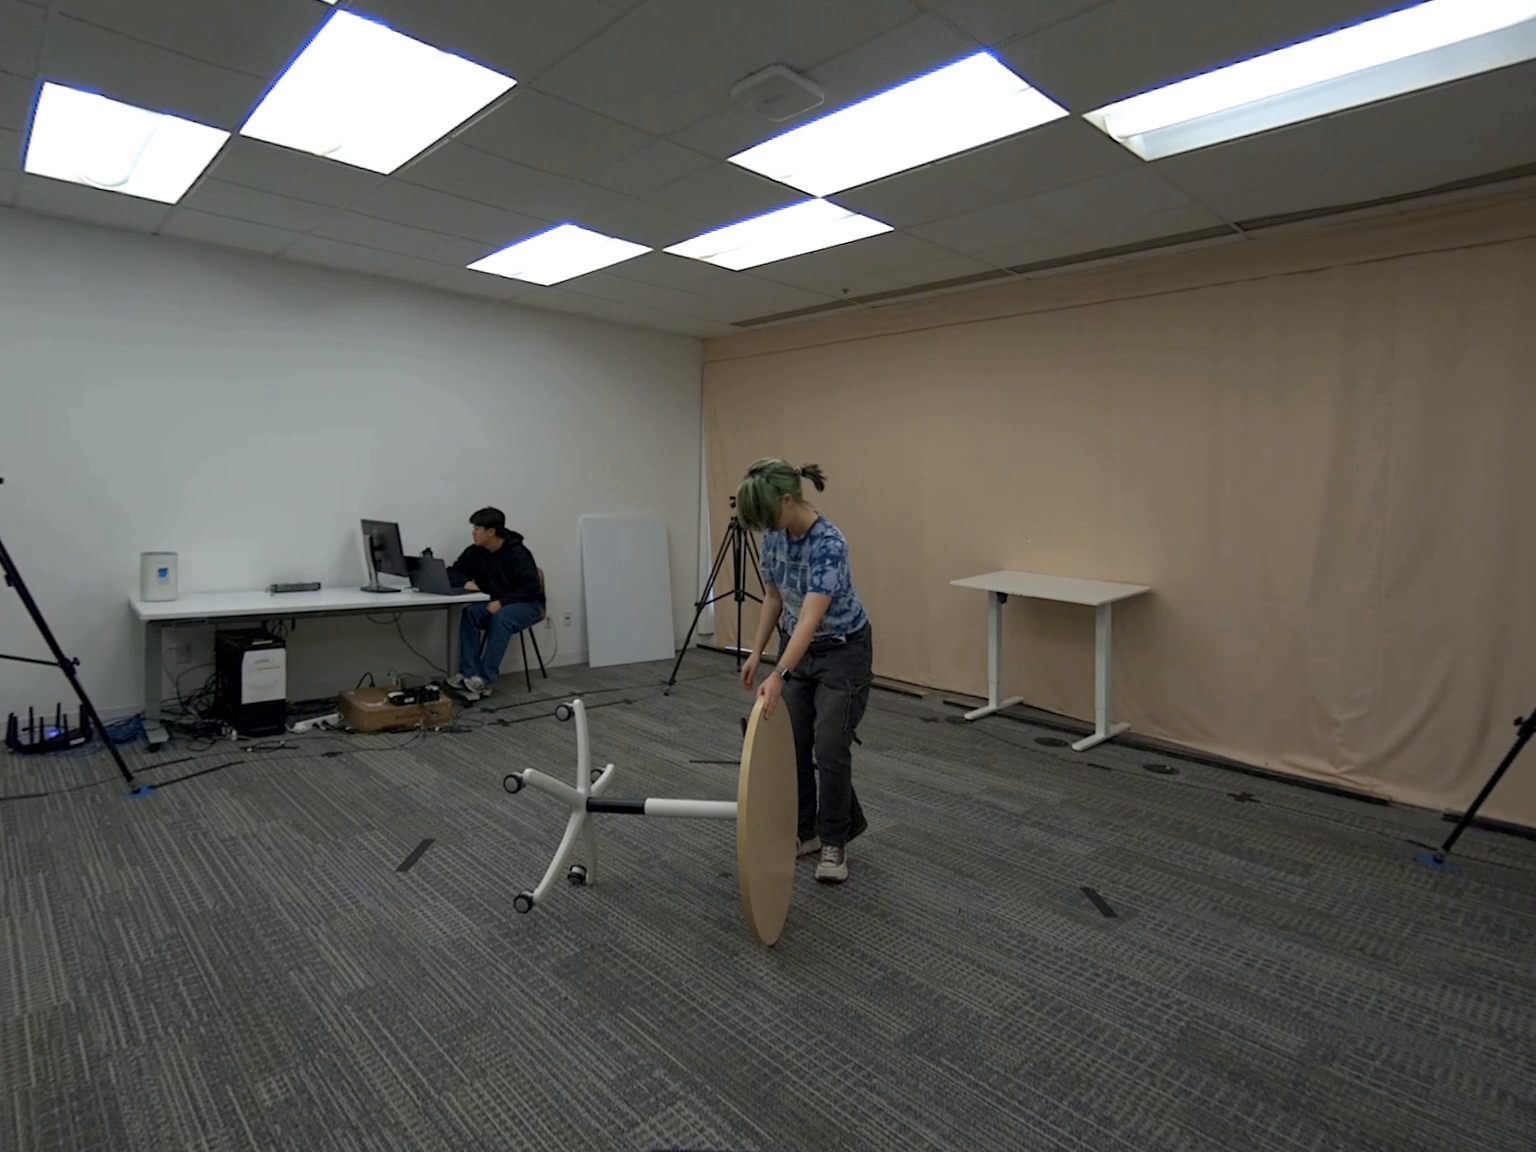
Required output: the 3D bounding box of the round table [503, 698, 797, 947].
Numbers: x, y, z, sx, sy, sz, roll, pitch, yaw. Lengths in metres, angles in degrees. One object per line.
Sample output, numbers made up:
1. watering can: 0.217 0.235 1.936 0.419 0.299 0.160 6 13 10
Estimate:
1. round table: -0.370 0.777 2.802 0.803 0.762 0.757 -3 3 14
